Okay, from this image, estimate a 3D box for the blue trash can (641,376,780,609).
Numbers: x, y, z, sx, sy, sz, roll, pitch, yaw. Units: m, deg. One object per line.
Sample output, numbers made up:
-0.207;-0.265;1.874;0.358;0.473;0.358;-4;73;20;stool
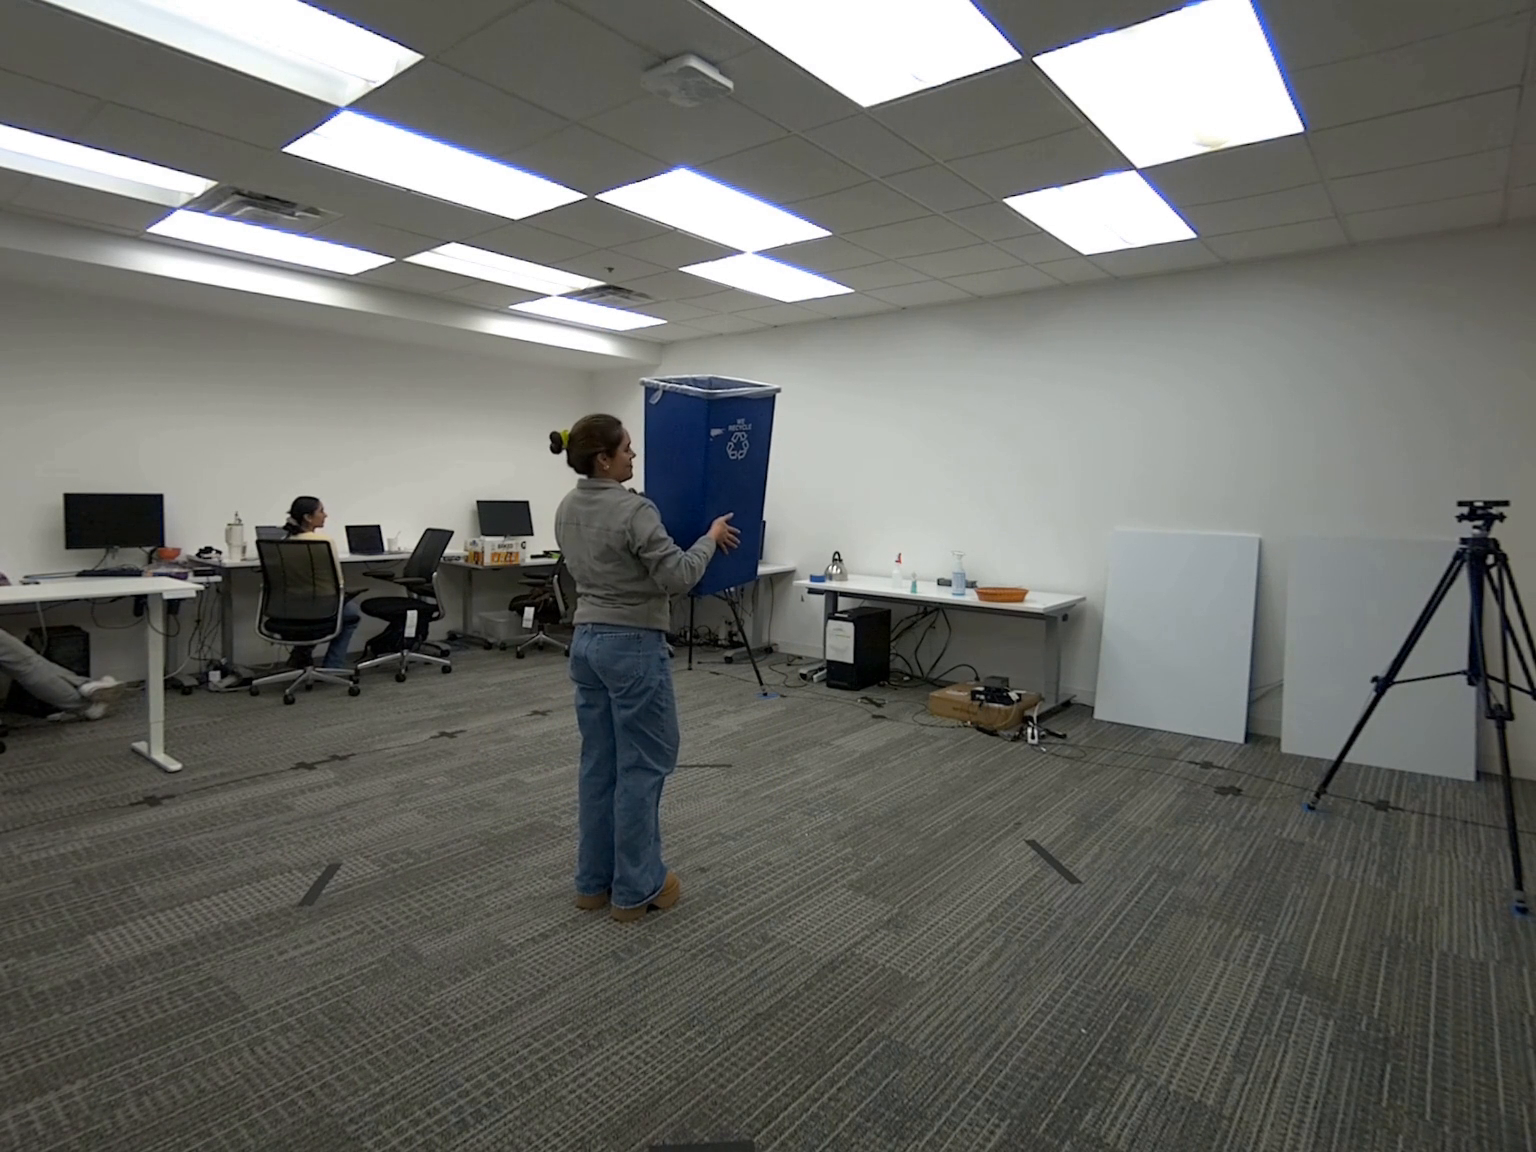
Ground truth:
-0.235;-0.341;3.042;0.393;0.703;0.365;19;24;40;blue trash can
